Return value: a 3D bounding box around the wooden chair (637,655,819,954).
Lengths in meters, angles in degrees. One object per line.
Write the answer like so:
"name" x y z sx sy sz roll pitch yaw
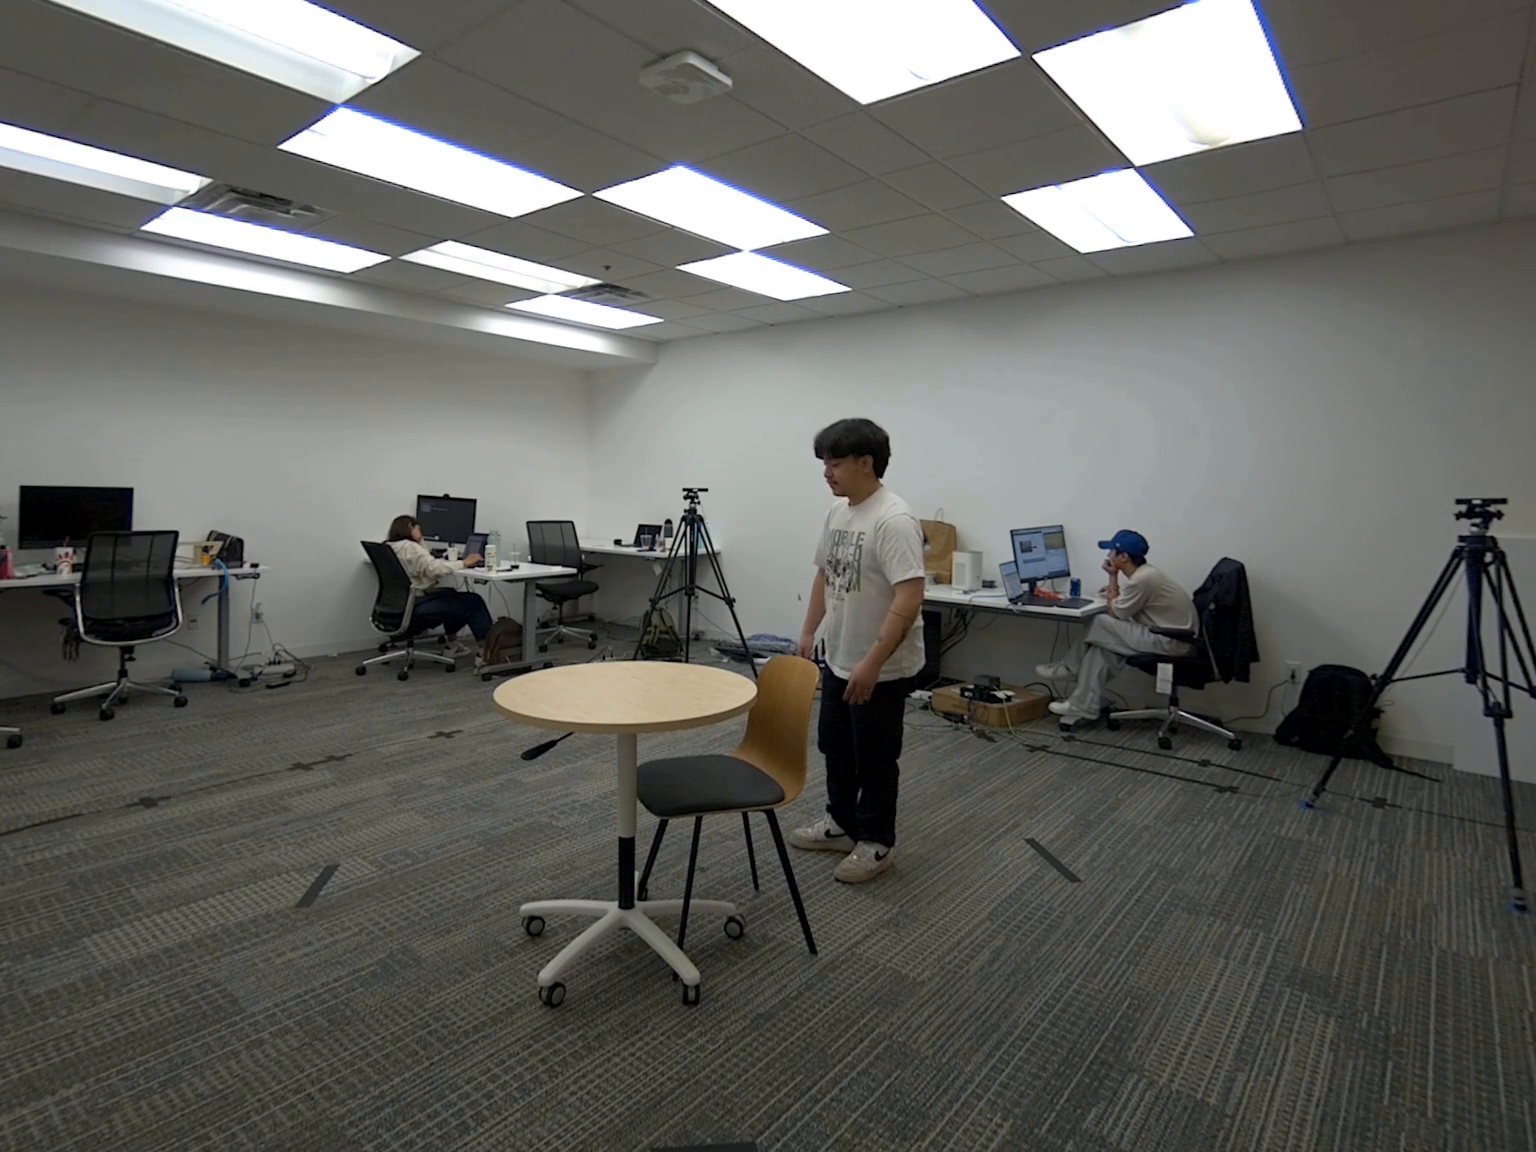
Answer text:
"wooden chair" -0.153 0.686 2.654 0.511 0.876 0.490 5 2 -23
